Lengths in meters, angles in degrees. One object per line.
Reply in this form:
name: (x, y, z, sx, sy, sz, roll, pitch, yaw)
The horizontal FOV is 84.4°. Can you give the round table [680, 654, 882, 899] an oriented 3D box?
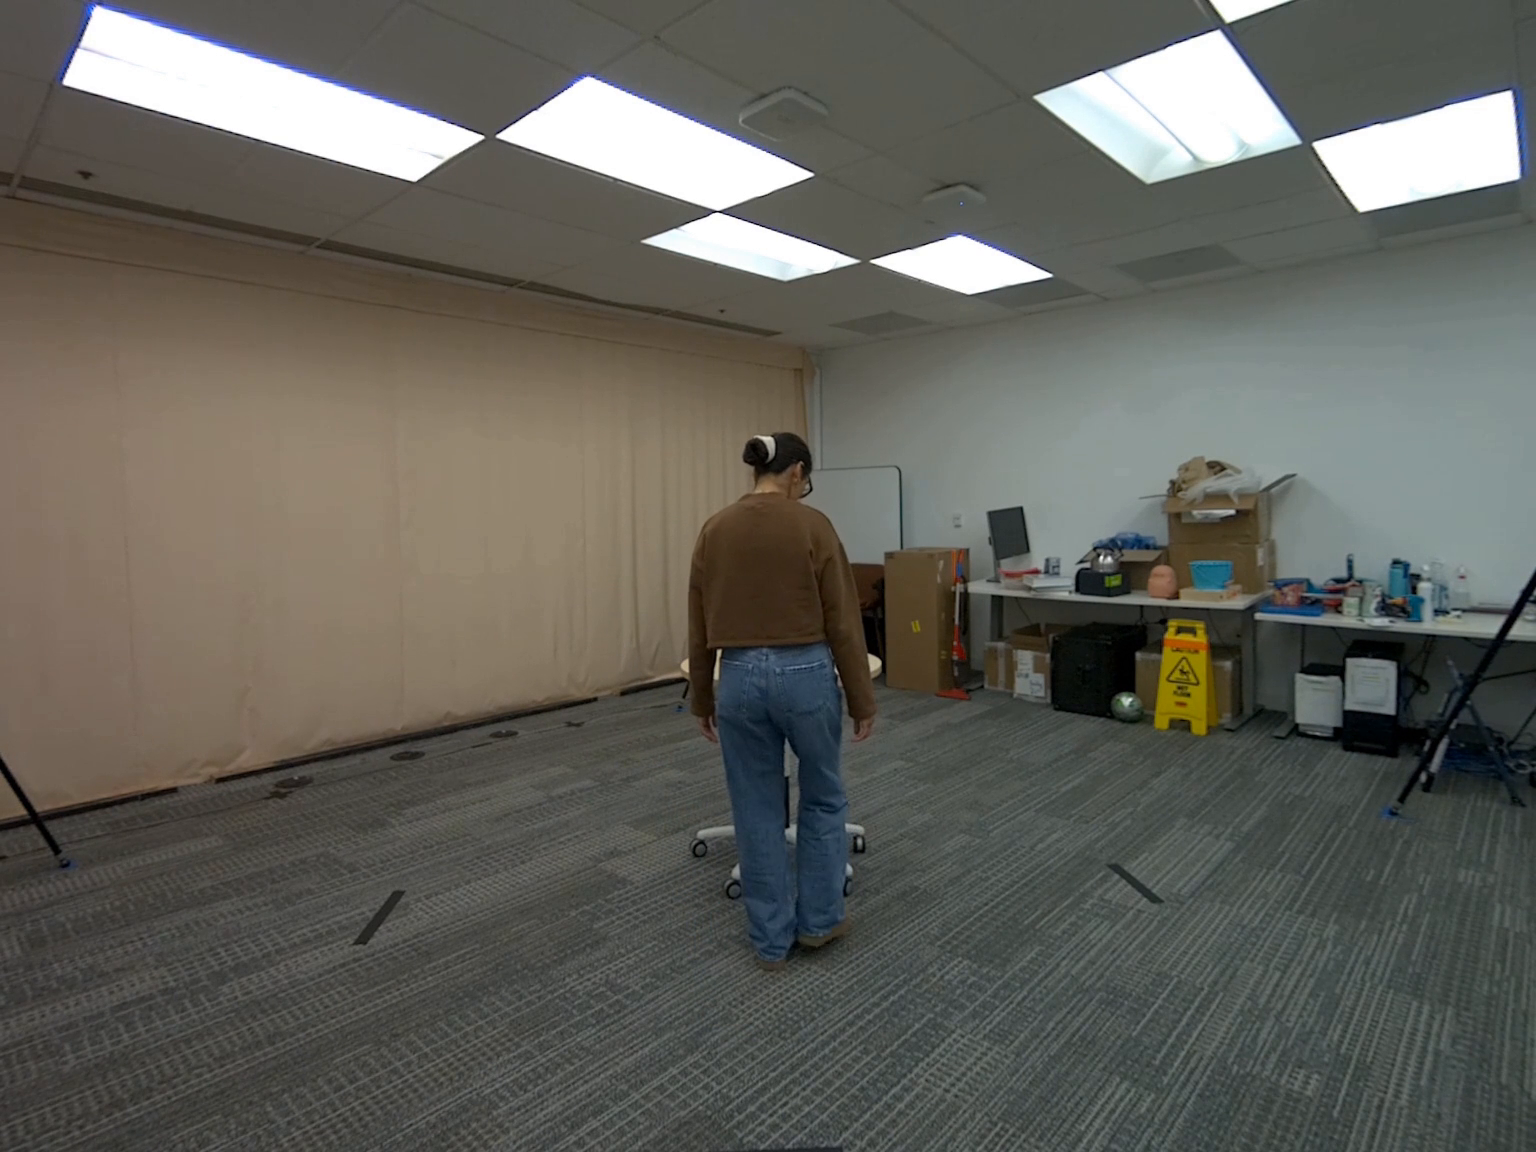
round table: (0.054, 0.726, 3.245, 0.763, 0.792, 0.767, -2, 4, -2)
